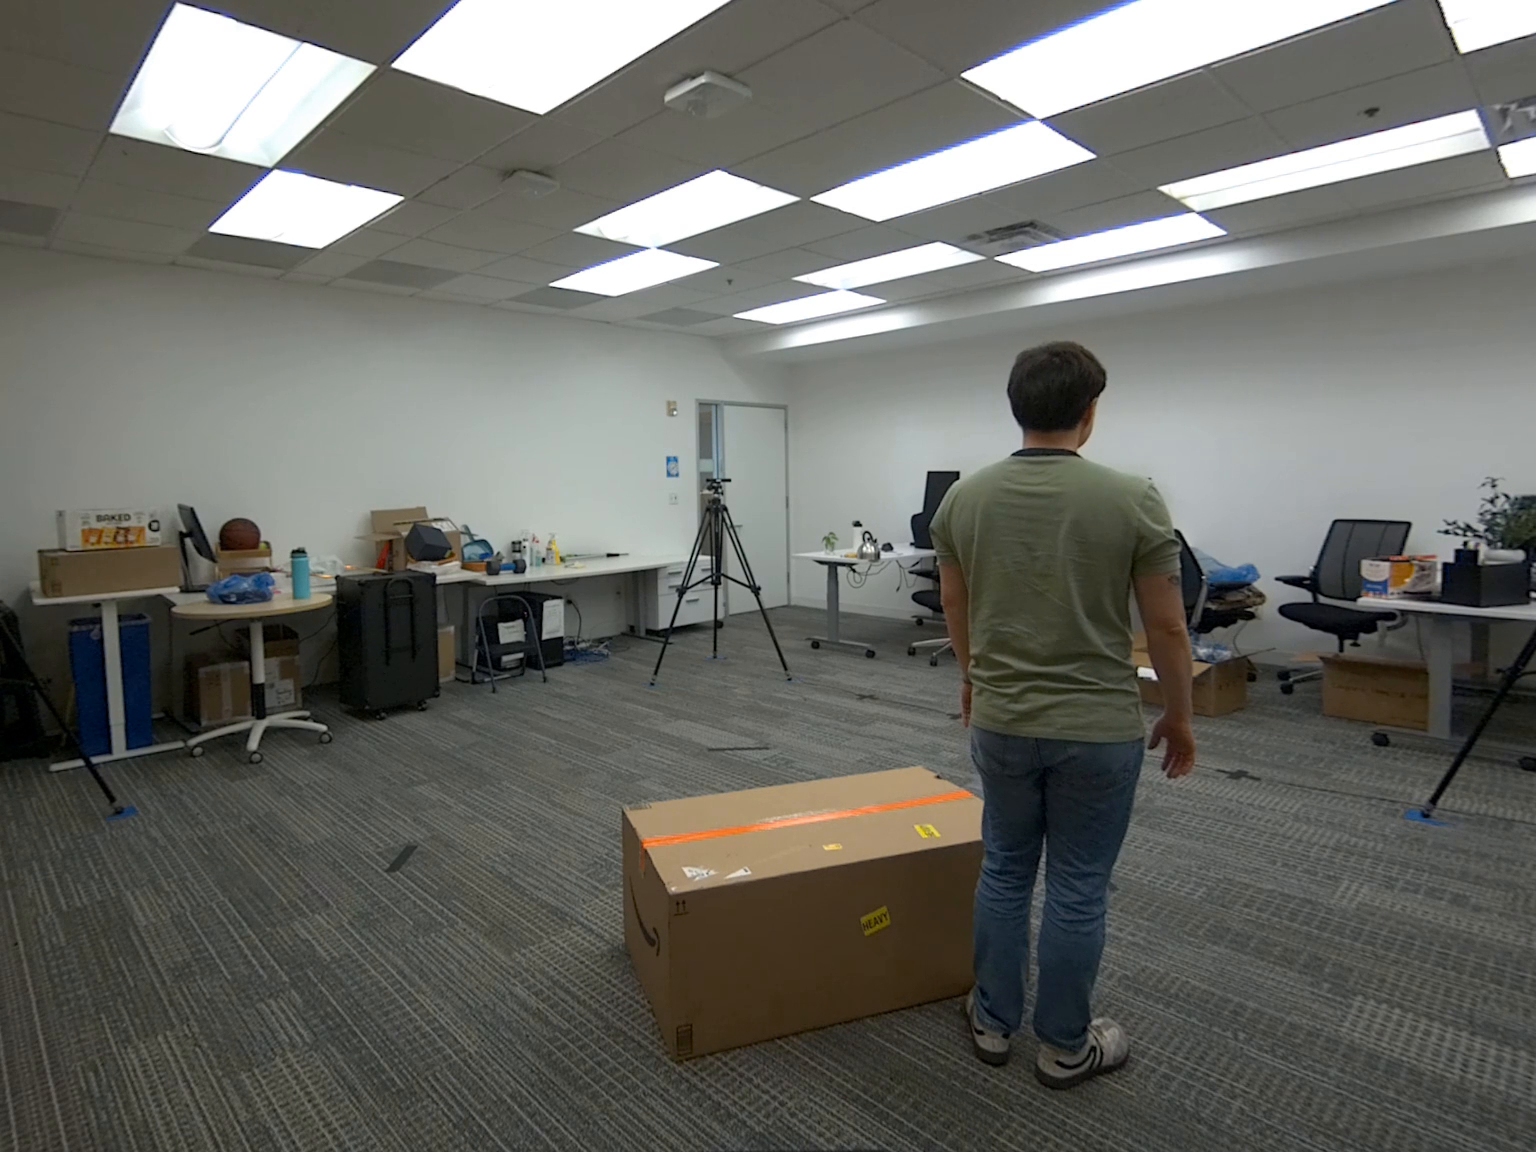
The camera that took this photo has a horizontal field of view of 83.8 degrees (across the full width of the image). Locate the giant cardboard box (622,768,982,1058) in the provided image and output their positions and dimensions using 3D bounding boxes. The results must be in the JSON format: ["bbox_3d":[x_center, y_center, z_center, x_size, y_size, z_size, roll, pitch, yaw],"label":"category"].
[{"bbox_3d":[0.142,0.899,2.464,1.009,0.424,0.590,-3,7,-19],"label":"giant cardboard box"}]
